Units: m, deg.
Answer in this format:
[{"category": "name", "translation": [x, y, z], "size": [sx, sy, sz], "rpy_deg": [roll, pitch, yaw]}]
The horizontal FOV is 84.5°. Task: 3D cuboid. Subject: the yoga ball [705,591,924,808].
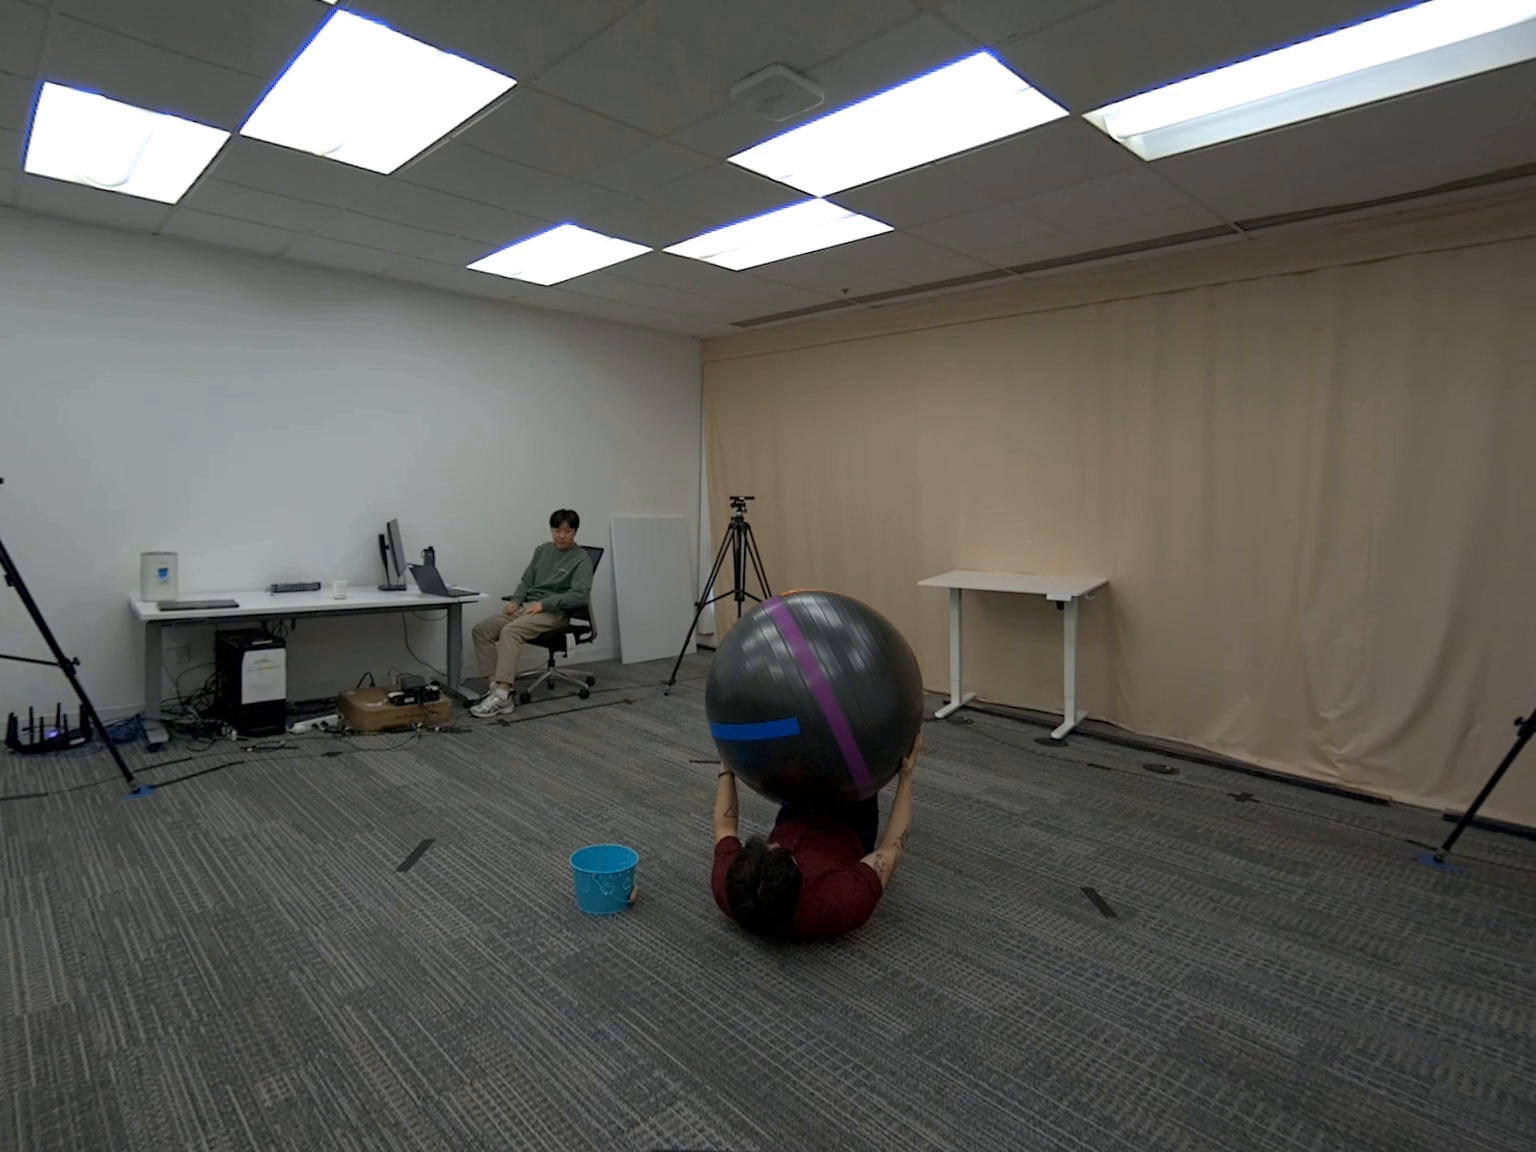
[{"category": "yoga ball", "translation": [0.155, 0.430, 2.963], "size": [0.757, 0.756, 0.761], "rpy_deg": [1, 4, -1]}]
